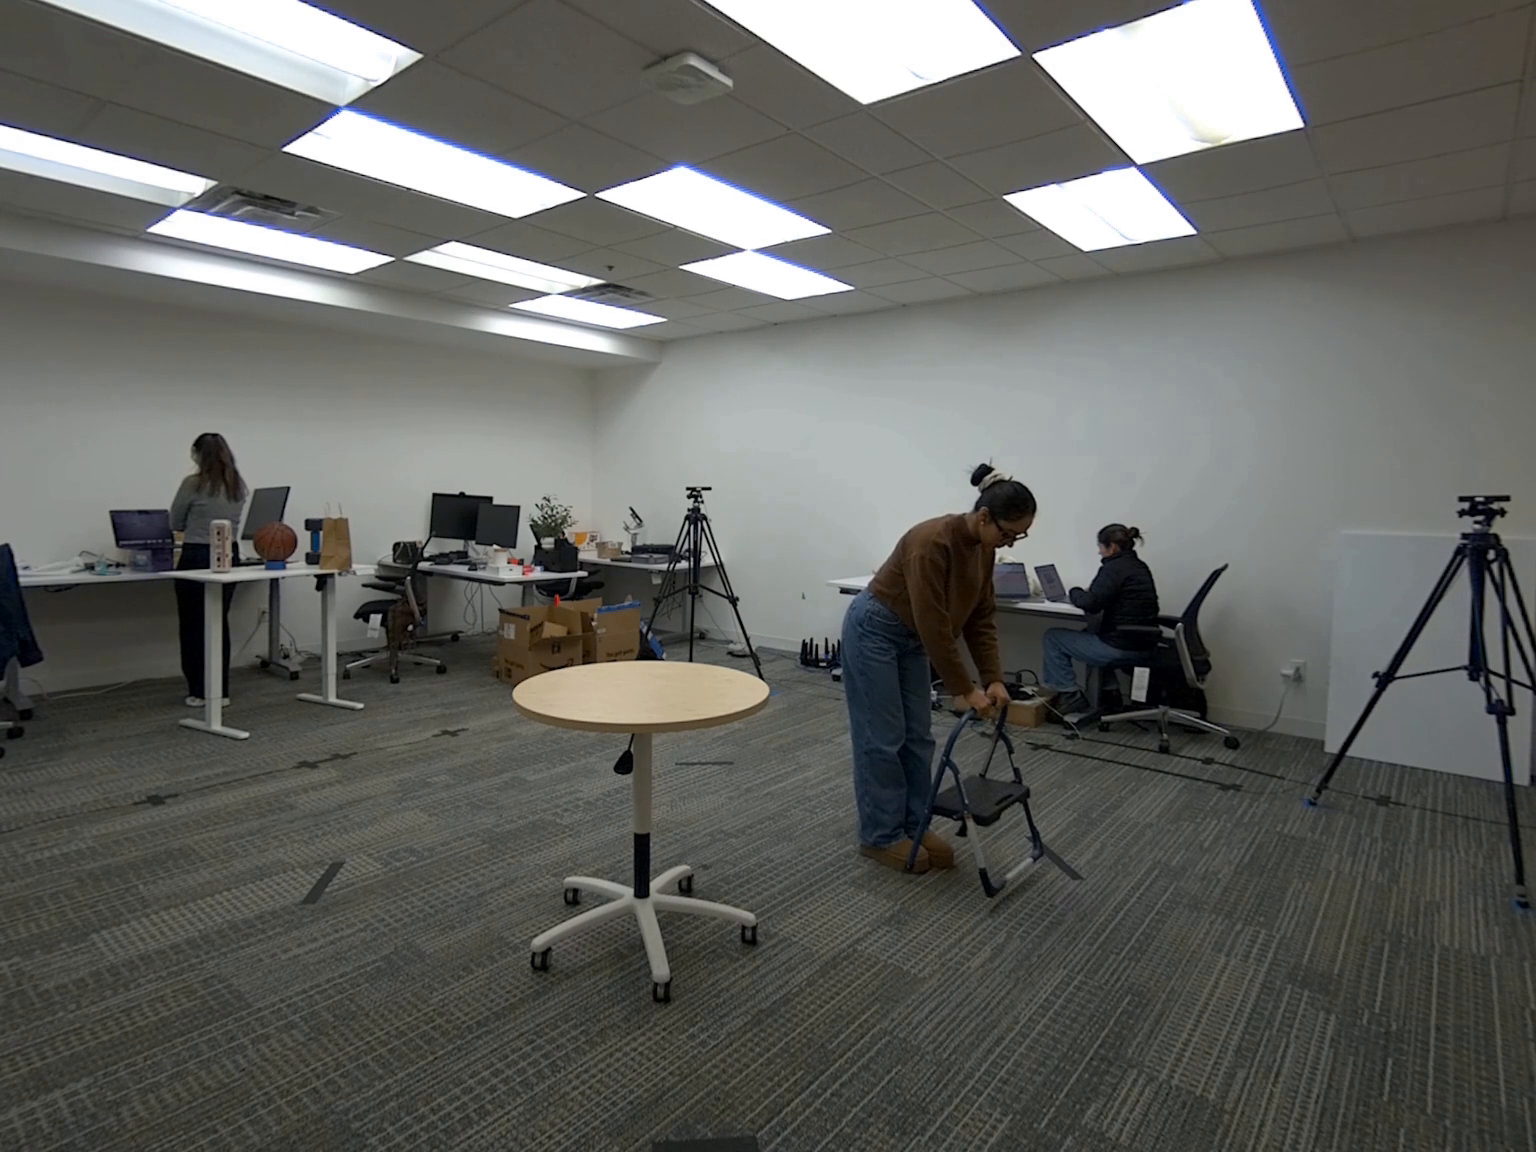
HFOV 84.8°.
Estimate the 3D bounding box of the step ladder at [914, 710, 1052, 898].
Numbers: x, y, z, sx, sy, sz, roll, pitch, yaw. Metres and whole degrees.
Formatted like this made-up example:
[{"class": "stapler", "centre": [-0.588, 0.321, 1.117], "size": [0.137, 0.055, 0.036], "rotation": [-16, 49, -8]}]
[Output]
[{"class": "step ladder", "centre": [0.724, 0.740, 3.049], "size": [0.360, 0.605, 0.418], "rotation": [-1, 3, 42]}]
